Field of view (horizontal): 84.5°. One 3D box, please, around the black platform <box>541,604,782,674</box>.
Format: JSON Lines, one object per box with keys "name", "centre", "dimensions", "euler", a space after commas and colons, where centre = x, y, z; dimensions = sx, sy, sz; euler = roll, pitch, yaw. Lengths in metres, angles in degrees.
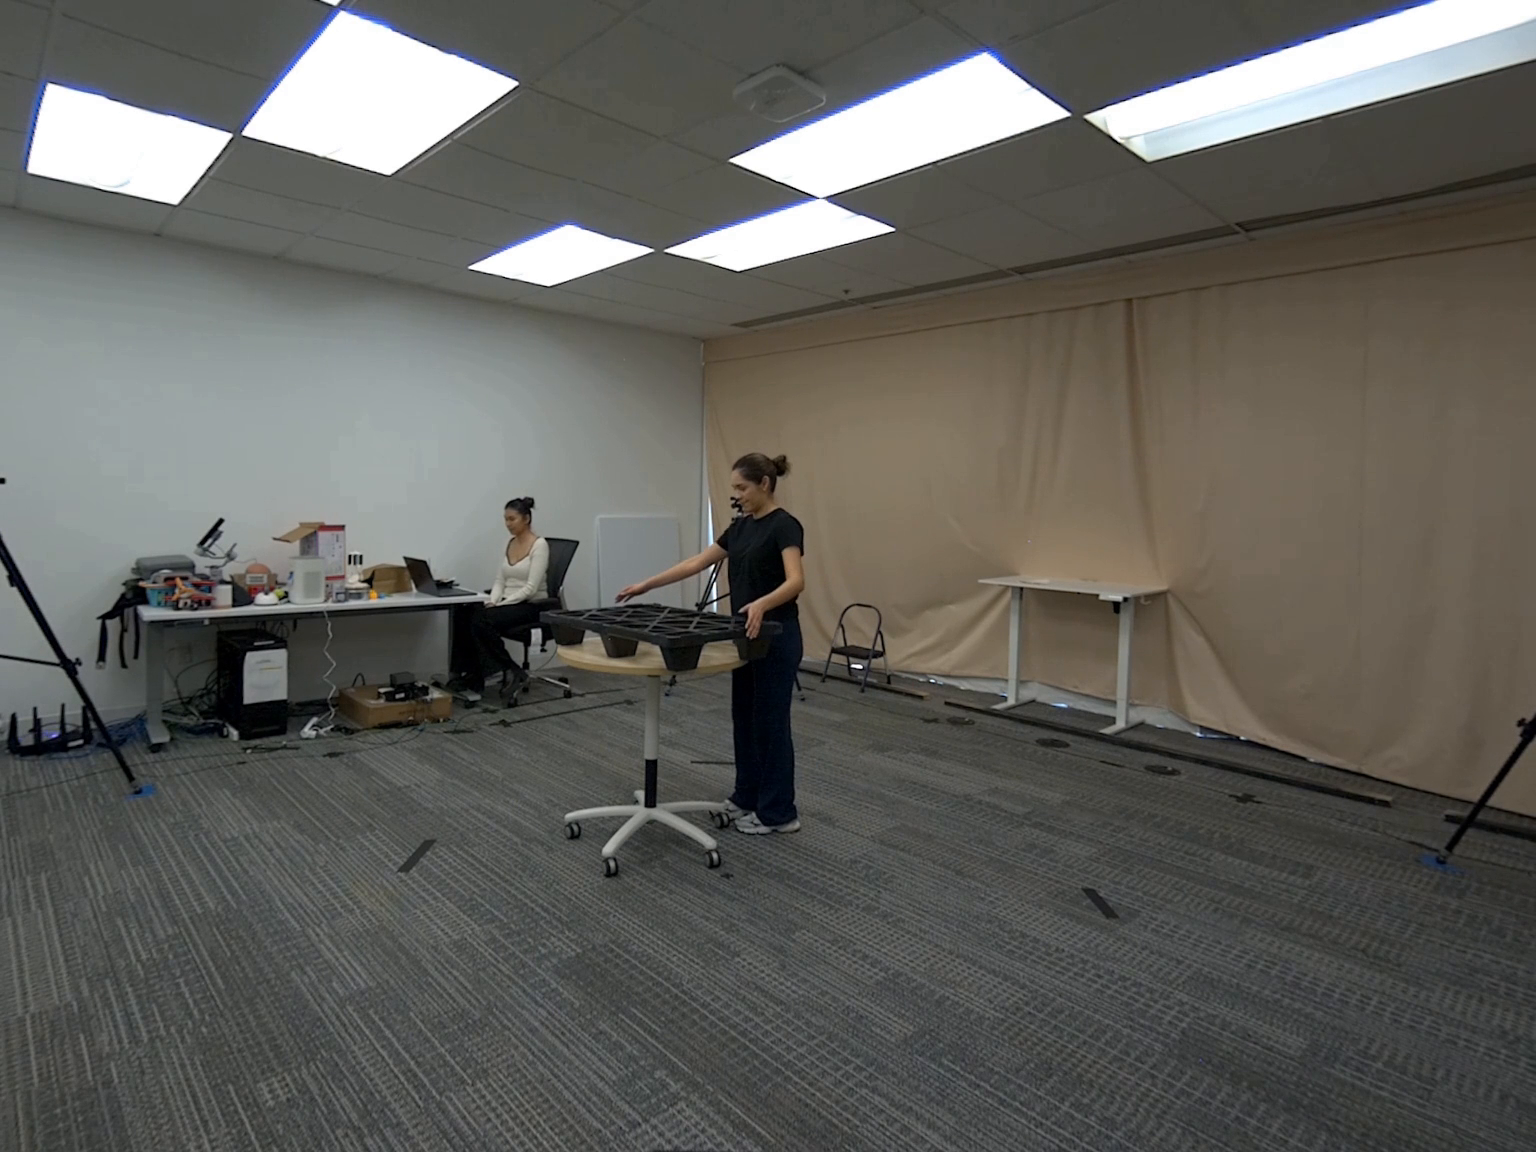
{"name": "black platform", "centre": [-0.441, 0.234, 3.331], "dimensions": [0.826, 0.143, 0.591], "euler": [7, 7, 43]}
